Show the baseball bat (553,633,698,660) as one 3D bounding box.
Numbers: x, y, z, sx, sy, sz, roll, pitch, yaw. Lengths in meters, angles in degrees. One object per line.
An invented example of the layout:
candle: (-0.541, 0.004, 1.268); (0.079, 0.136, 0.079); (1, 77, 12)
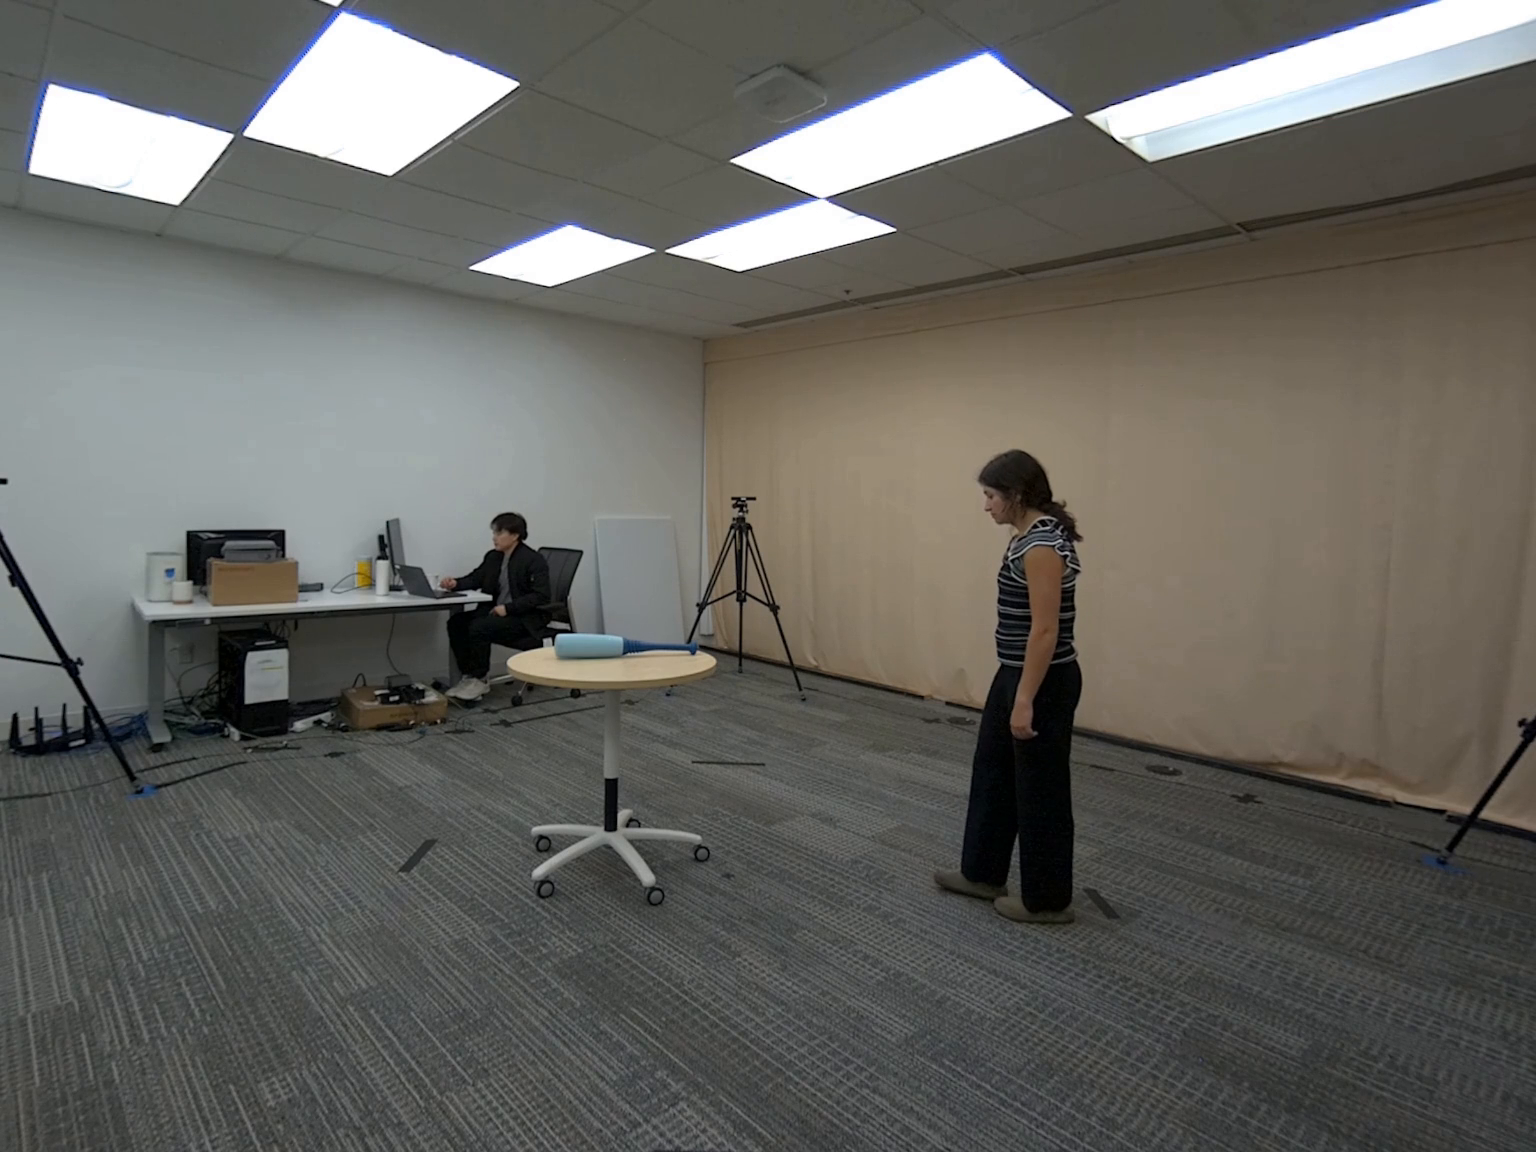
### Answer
baseball bat: (-0.541, 0.271, 3.197); (0.535, 0.089, 0.090); (3, 4, -18)
